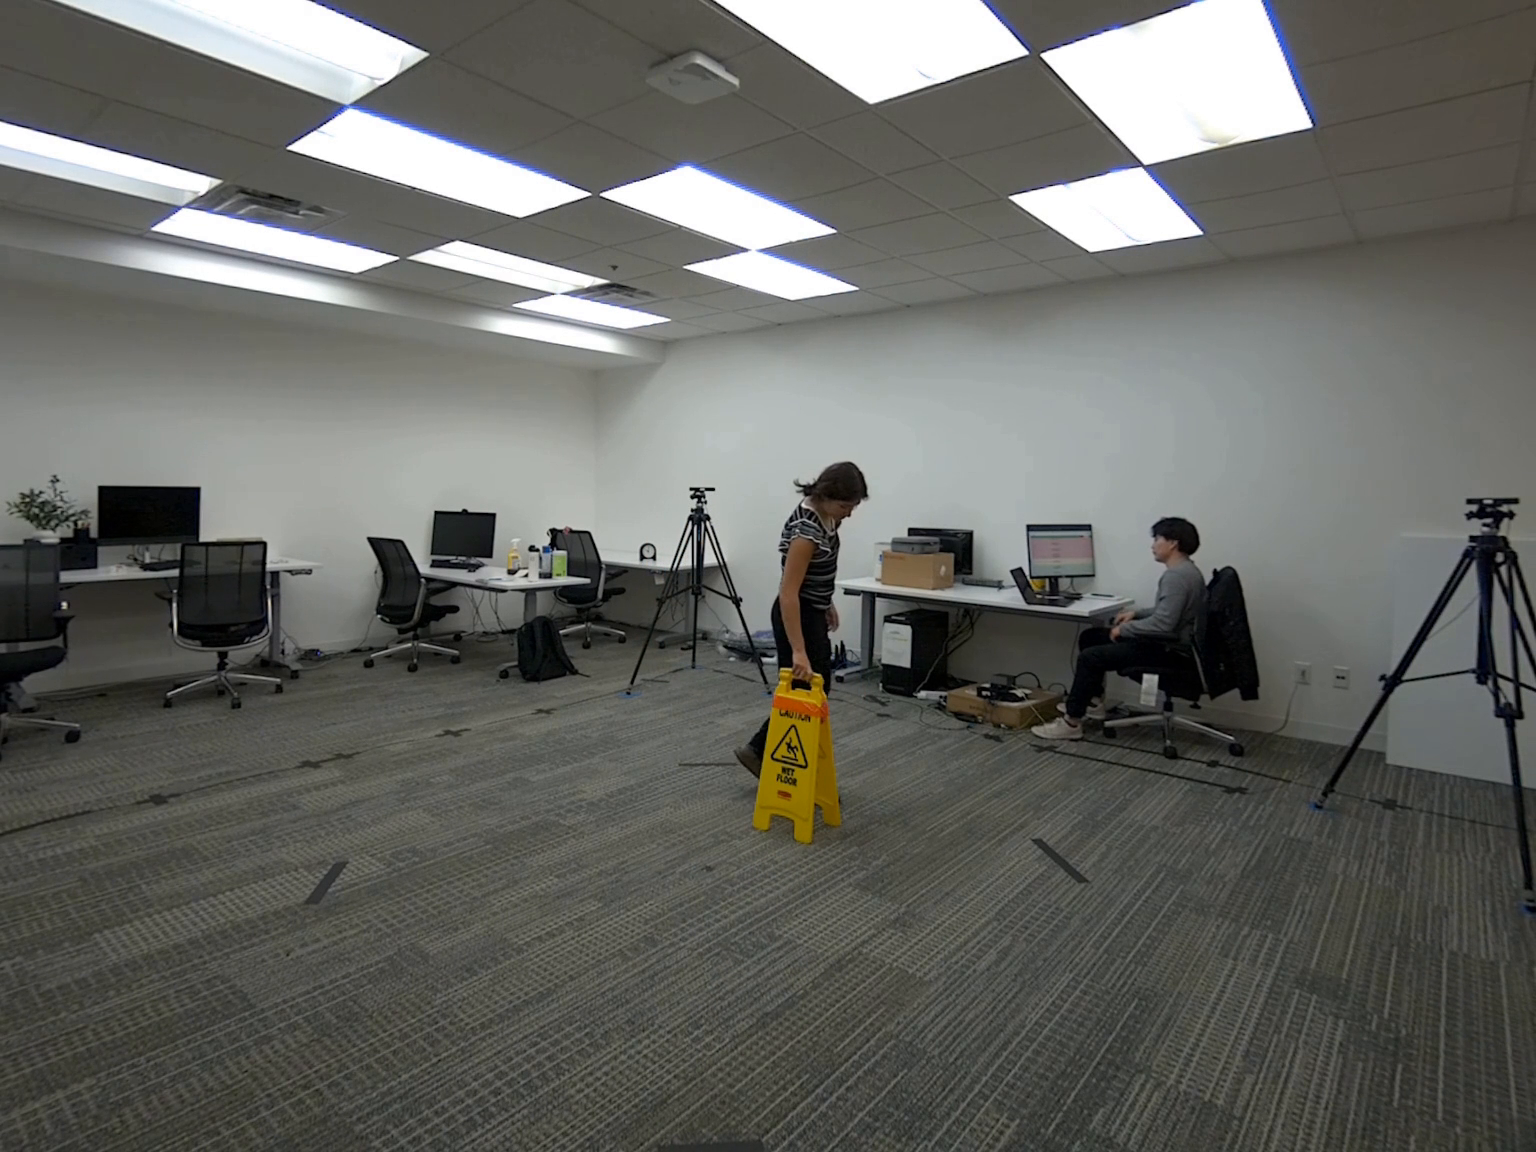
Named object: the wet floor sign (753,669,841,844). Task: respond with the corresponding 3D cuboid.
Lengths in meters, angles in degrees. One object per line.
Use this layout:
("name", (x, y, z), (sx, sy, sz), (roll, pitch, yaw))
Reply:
("wet floor sign", (0.123, 0.708, 3.514), (0.291, 0.644, 0.281), (4, 4, 35))
